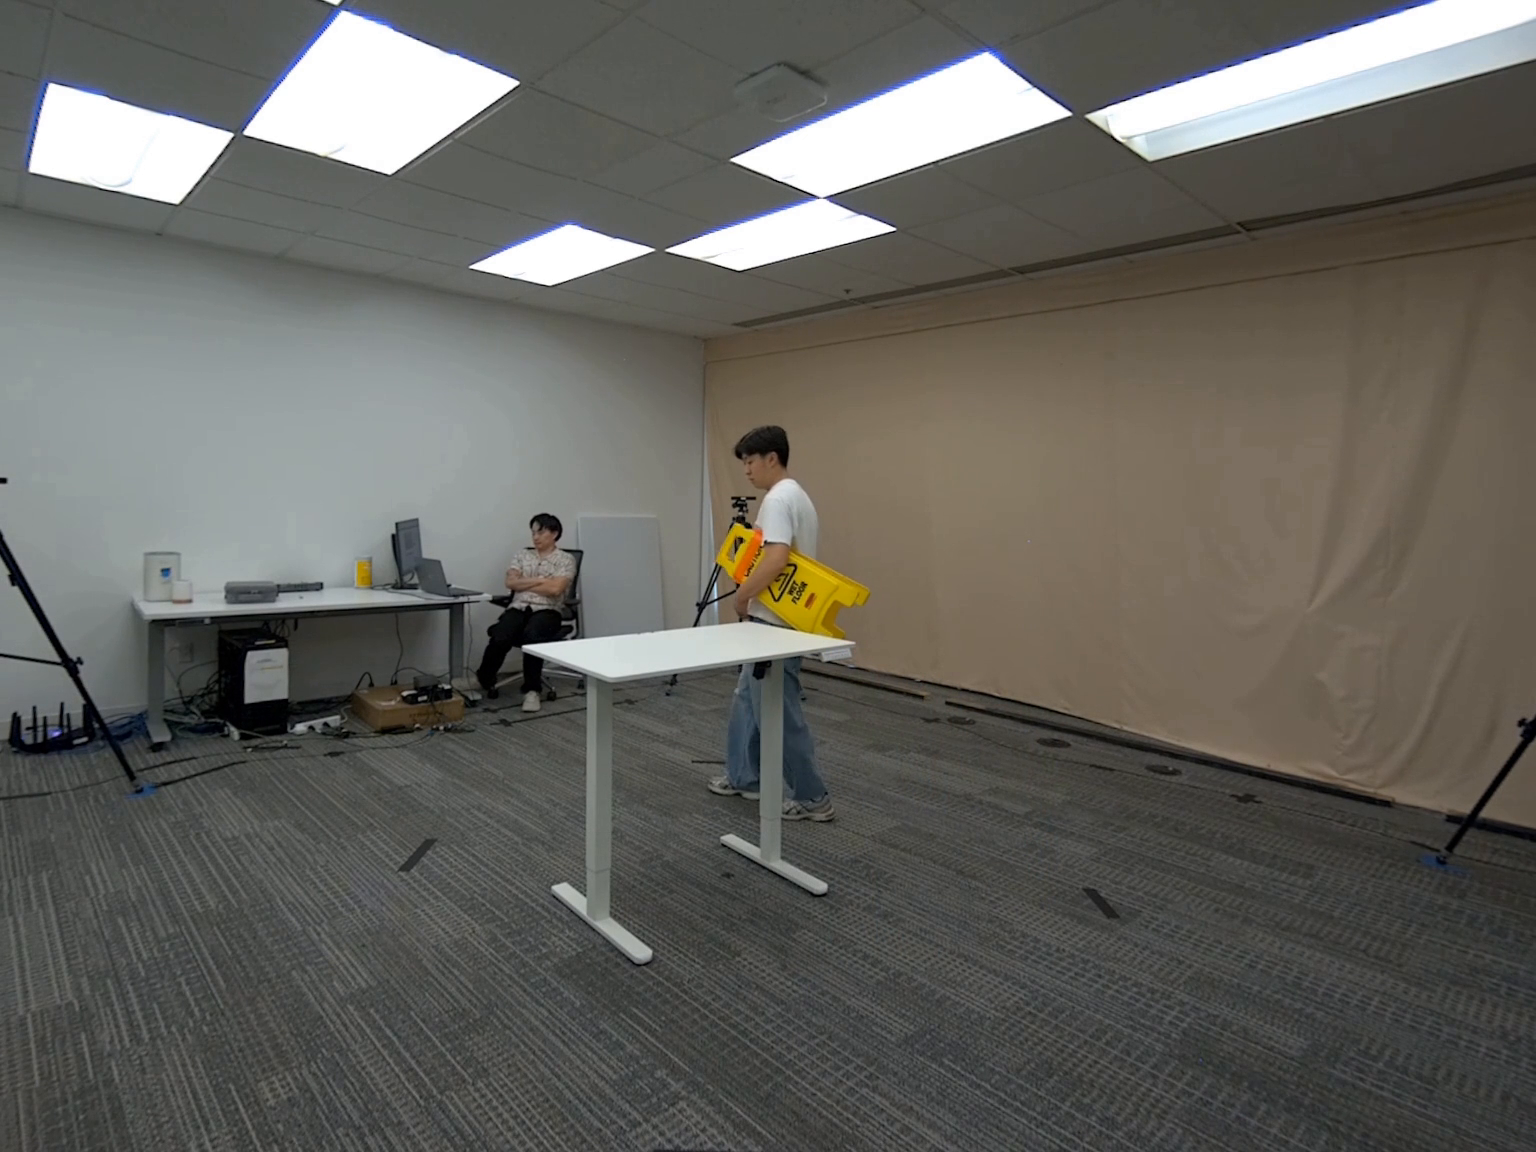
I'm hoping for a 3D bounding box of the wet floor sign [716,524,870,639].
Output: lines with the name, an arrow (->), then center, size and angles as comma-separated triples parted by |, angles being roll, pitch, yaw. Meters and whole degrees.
wet floor sign -> 0.066, 0.014, 3.527 | 0.661, 0.281, 0.284 | 31, 11, 22
